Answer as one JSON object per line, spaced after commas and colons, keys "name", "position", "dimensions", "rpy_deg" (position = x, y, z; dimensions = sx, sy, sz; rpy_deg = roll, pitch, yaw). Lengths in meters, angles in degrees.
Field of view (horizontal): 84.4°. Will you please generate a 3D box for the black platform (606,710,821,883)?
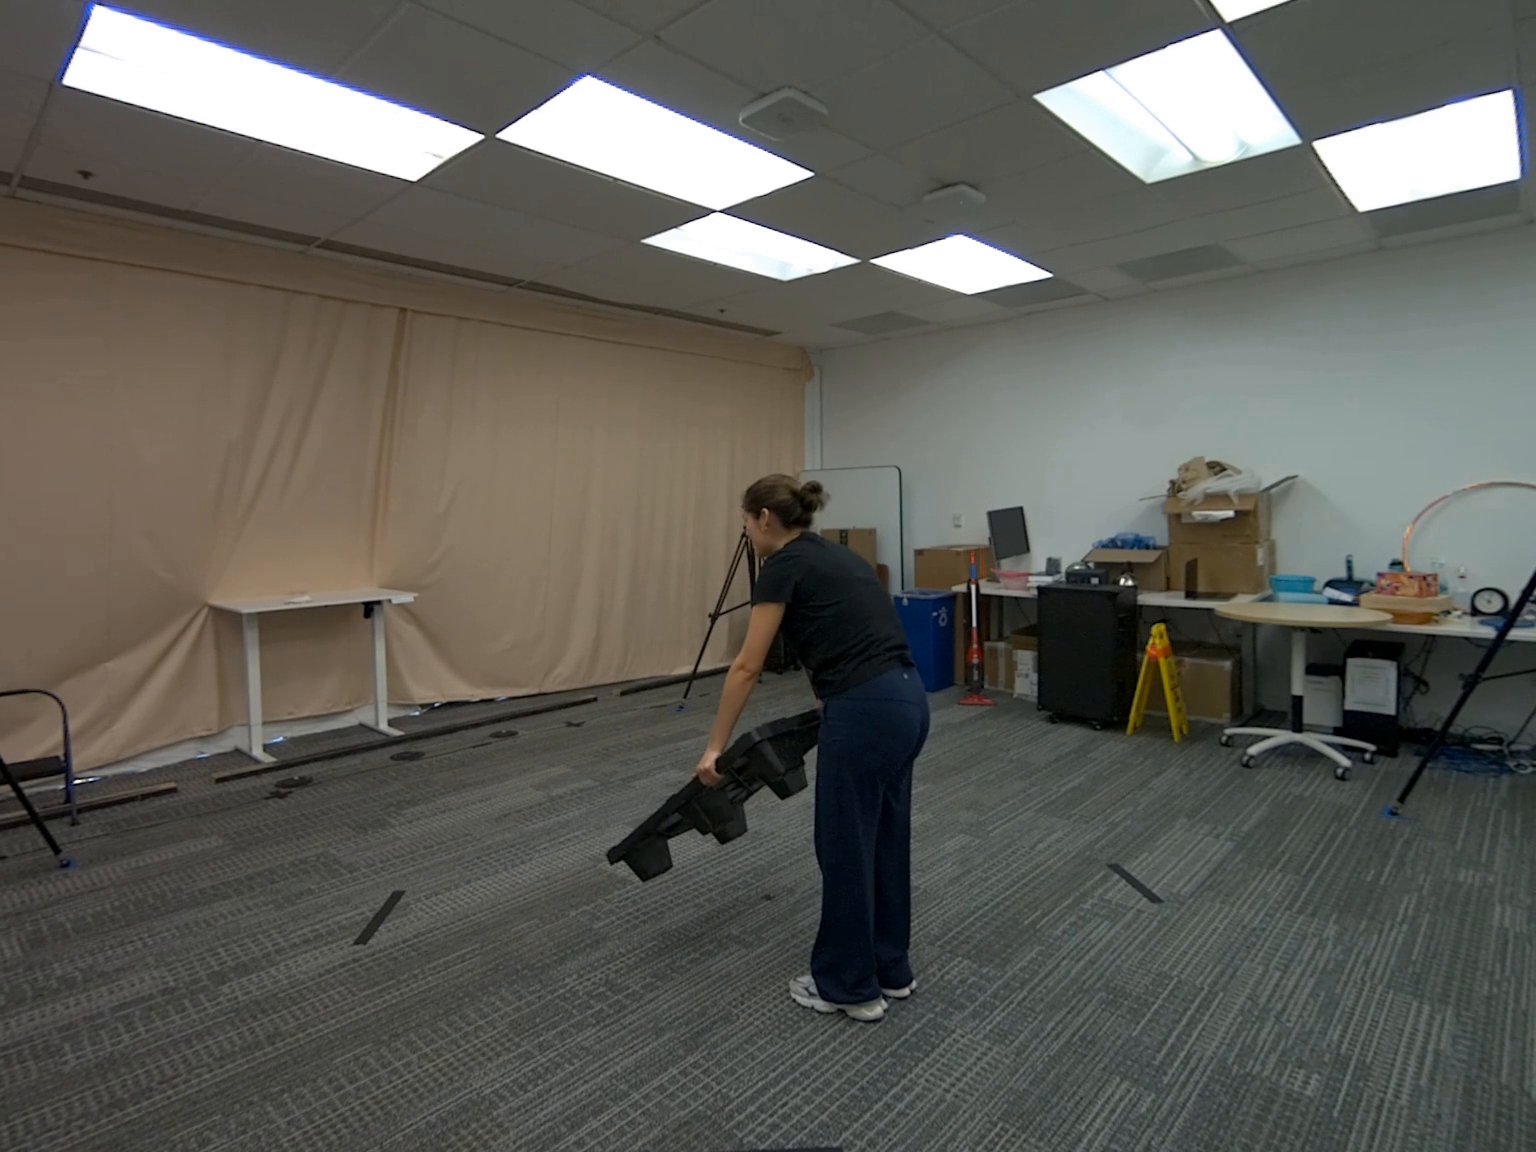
{"name": "black platform", "position": [-0.047, 0.666, 2.609], "dimensions": [0.587, 0.146, 0.811], "rpy_deg": [-8, -31, -51]}
